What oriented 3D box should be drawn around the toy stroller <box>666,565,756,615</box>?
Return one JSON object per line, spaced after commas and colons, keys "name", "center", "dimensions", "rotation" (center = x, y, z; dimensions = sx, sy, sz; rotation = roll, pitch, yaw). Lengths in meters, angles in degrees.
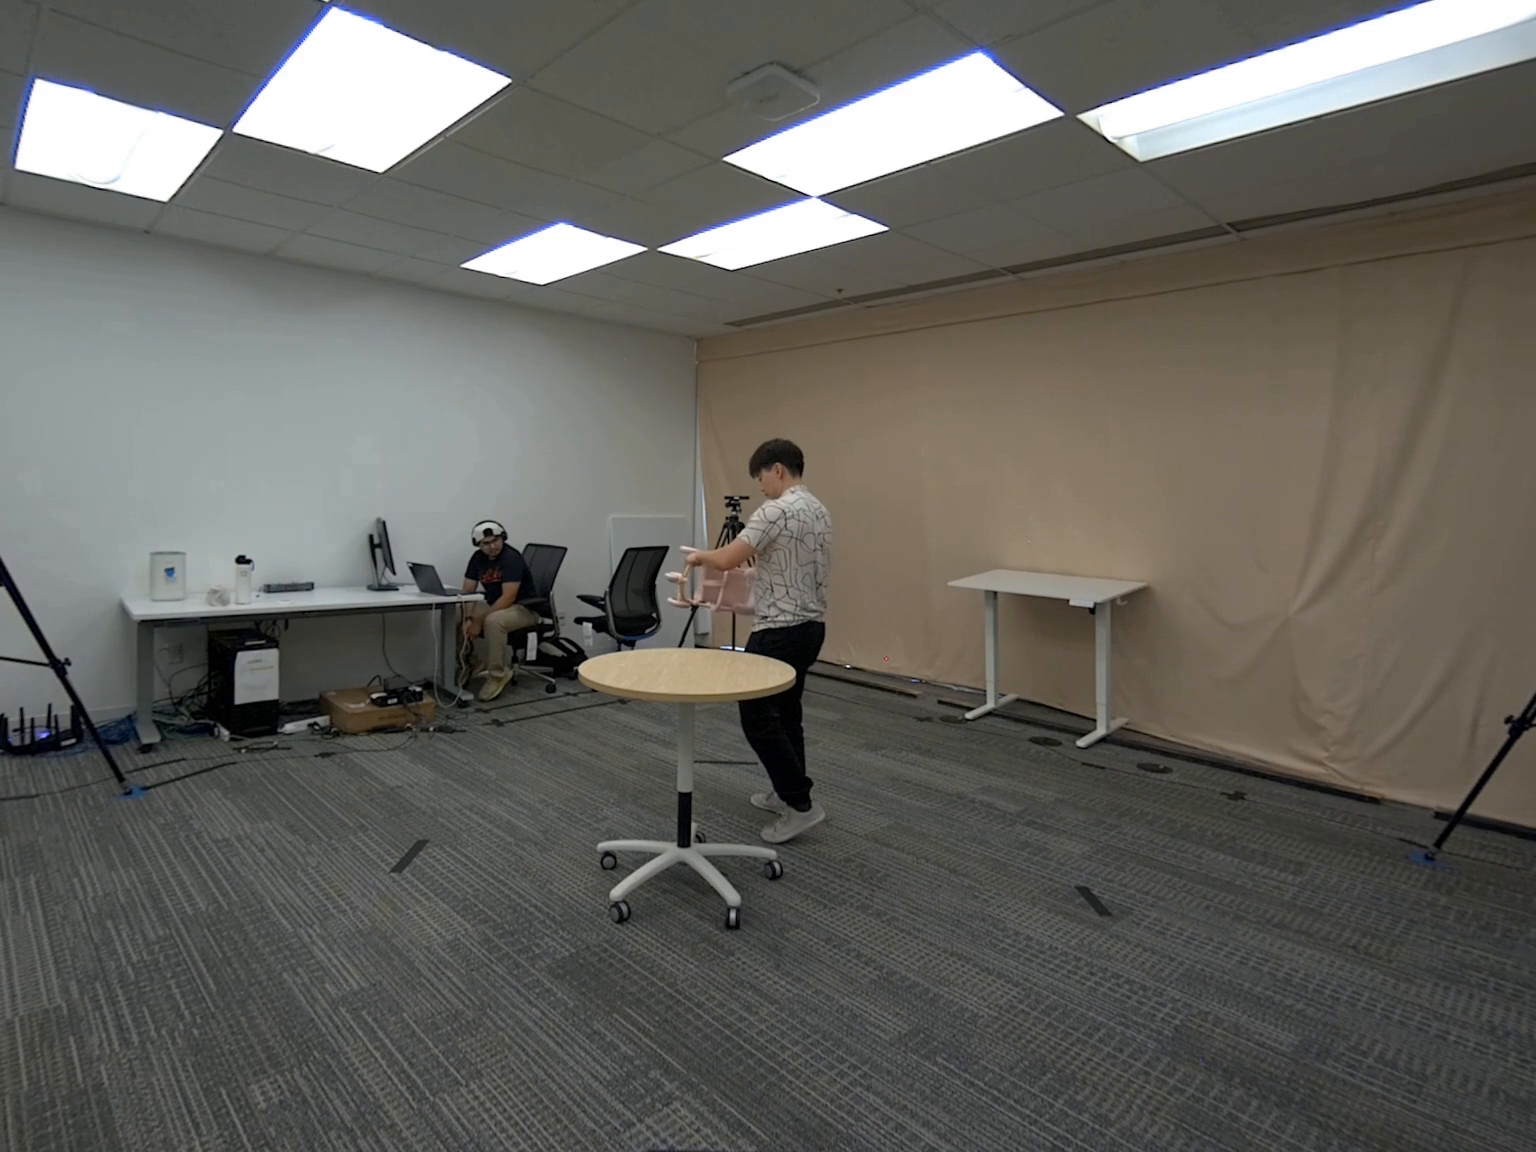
{"name": "toy stroller", "center": [-0.229, 0.041, 3.811], "dimensions": [0.529, 0.282, 0.344], "rotation": [13, -2, -11]}
